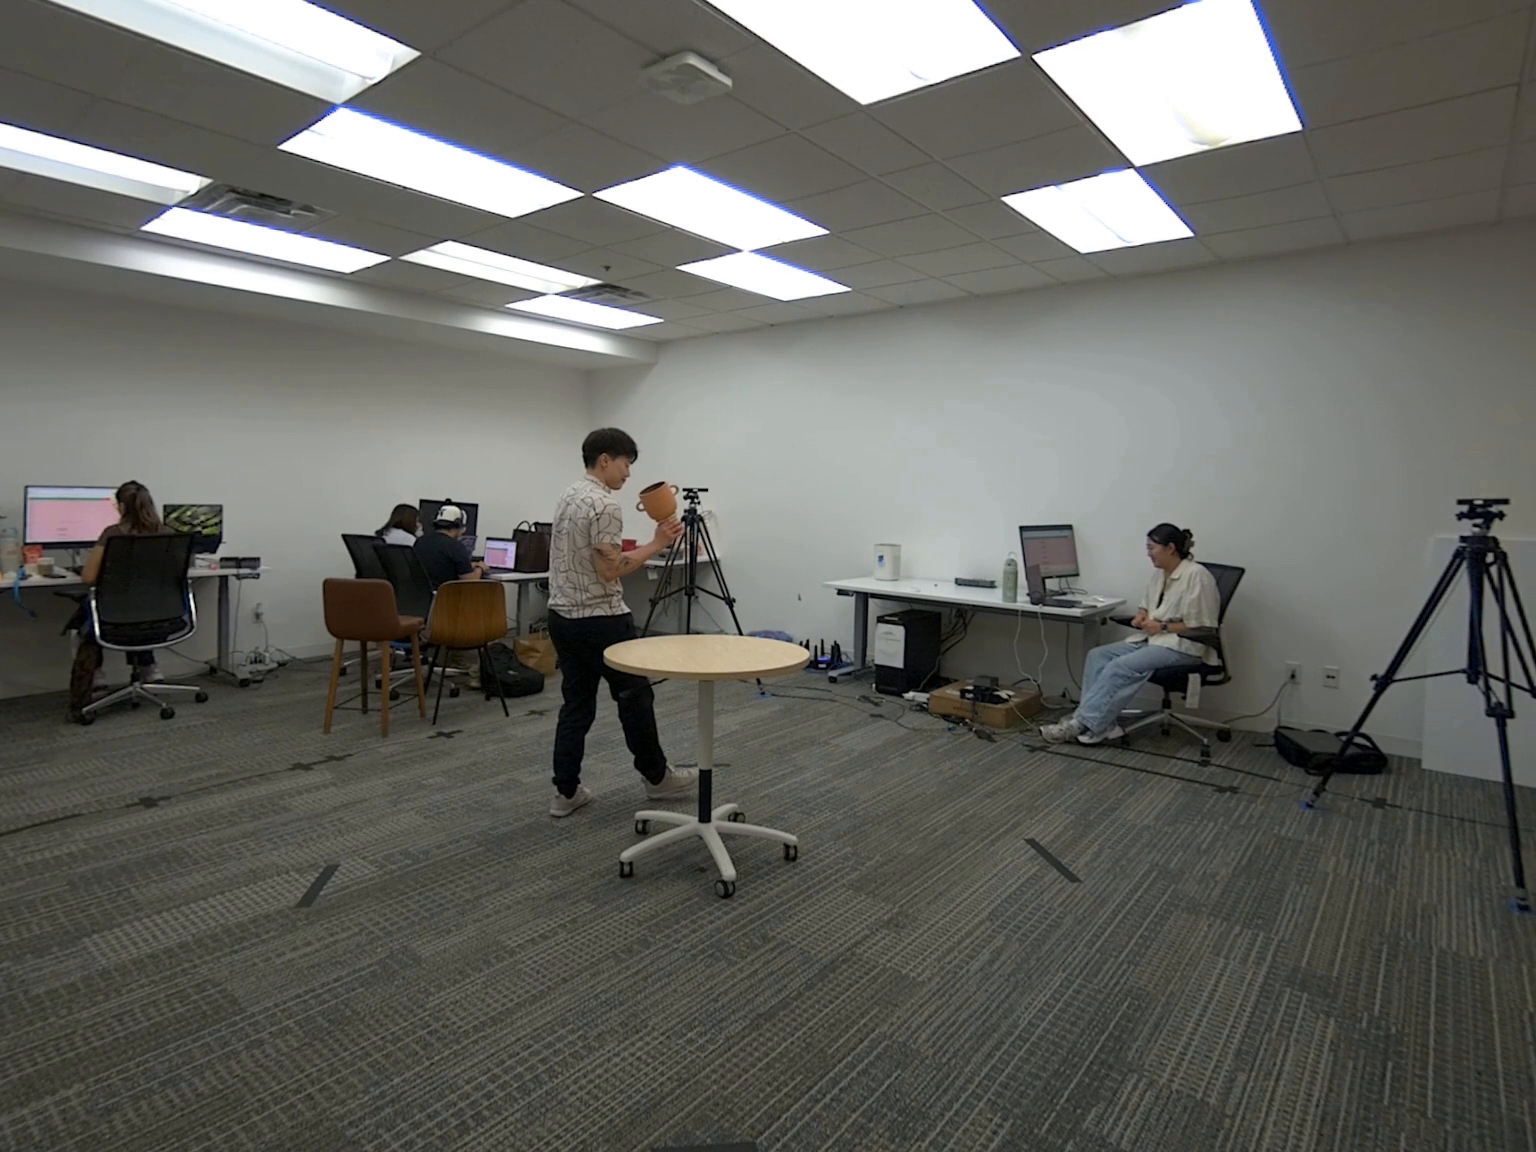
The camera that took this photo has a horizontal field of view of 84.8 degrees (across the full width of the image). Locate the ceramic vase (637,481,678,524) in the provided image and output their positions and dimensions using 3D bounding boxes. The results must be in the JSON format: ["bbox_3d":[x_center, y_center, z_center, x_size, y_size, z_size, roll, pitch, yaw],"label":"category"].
[{"bbox_3d":[-0.456,-0.279,3.592,0.162,0.215,0.135,-14,21,24],"label":"ceramic vase"}]
